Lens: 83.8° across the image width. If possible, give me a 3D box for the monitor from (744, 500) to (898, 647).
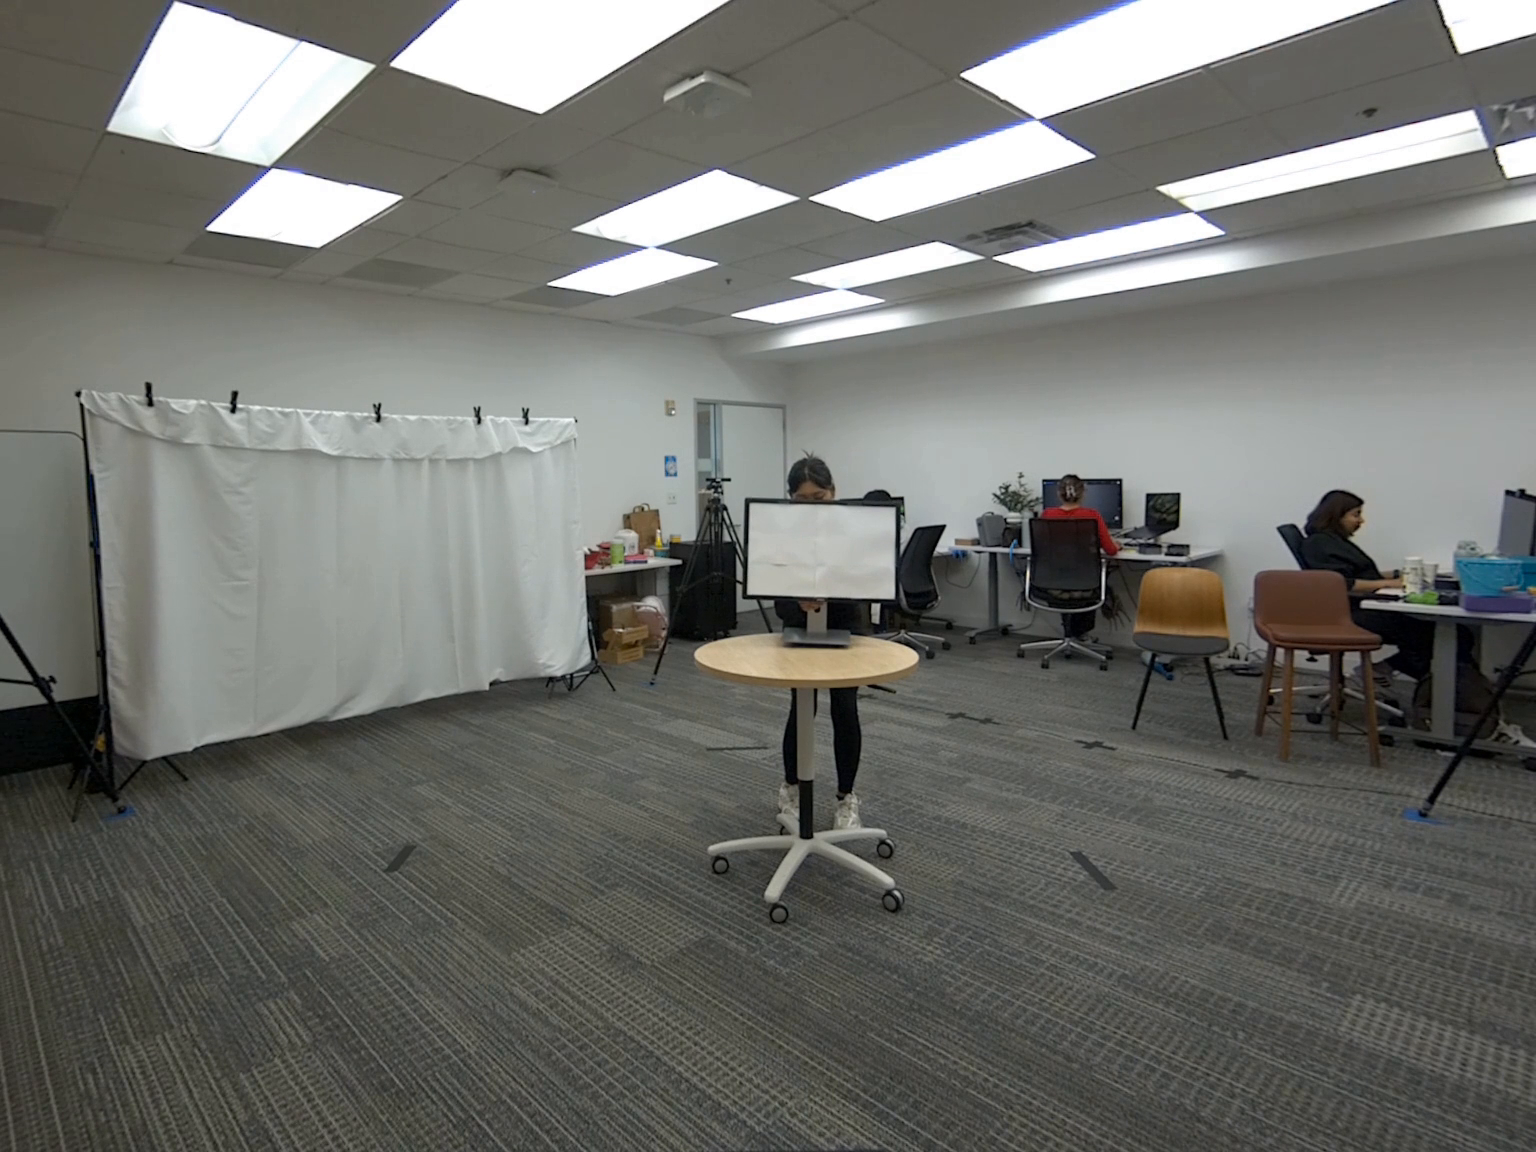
[{"bbox_3d":[0.177,-0.014,3.097,0.538,0.519,0.188,1,8,-1],"label":"monitor"}]
